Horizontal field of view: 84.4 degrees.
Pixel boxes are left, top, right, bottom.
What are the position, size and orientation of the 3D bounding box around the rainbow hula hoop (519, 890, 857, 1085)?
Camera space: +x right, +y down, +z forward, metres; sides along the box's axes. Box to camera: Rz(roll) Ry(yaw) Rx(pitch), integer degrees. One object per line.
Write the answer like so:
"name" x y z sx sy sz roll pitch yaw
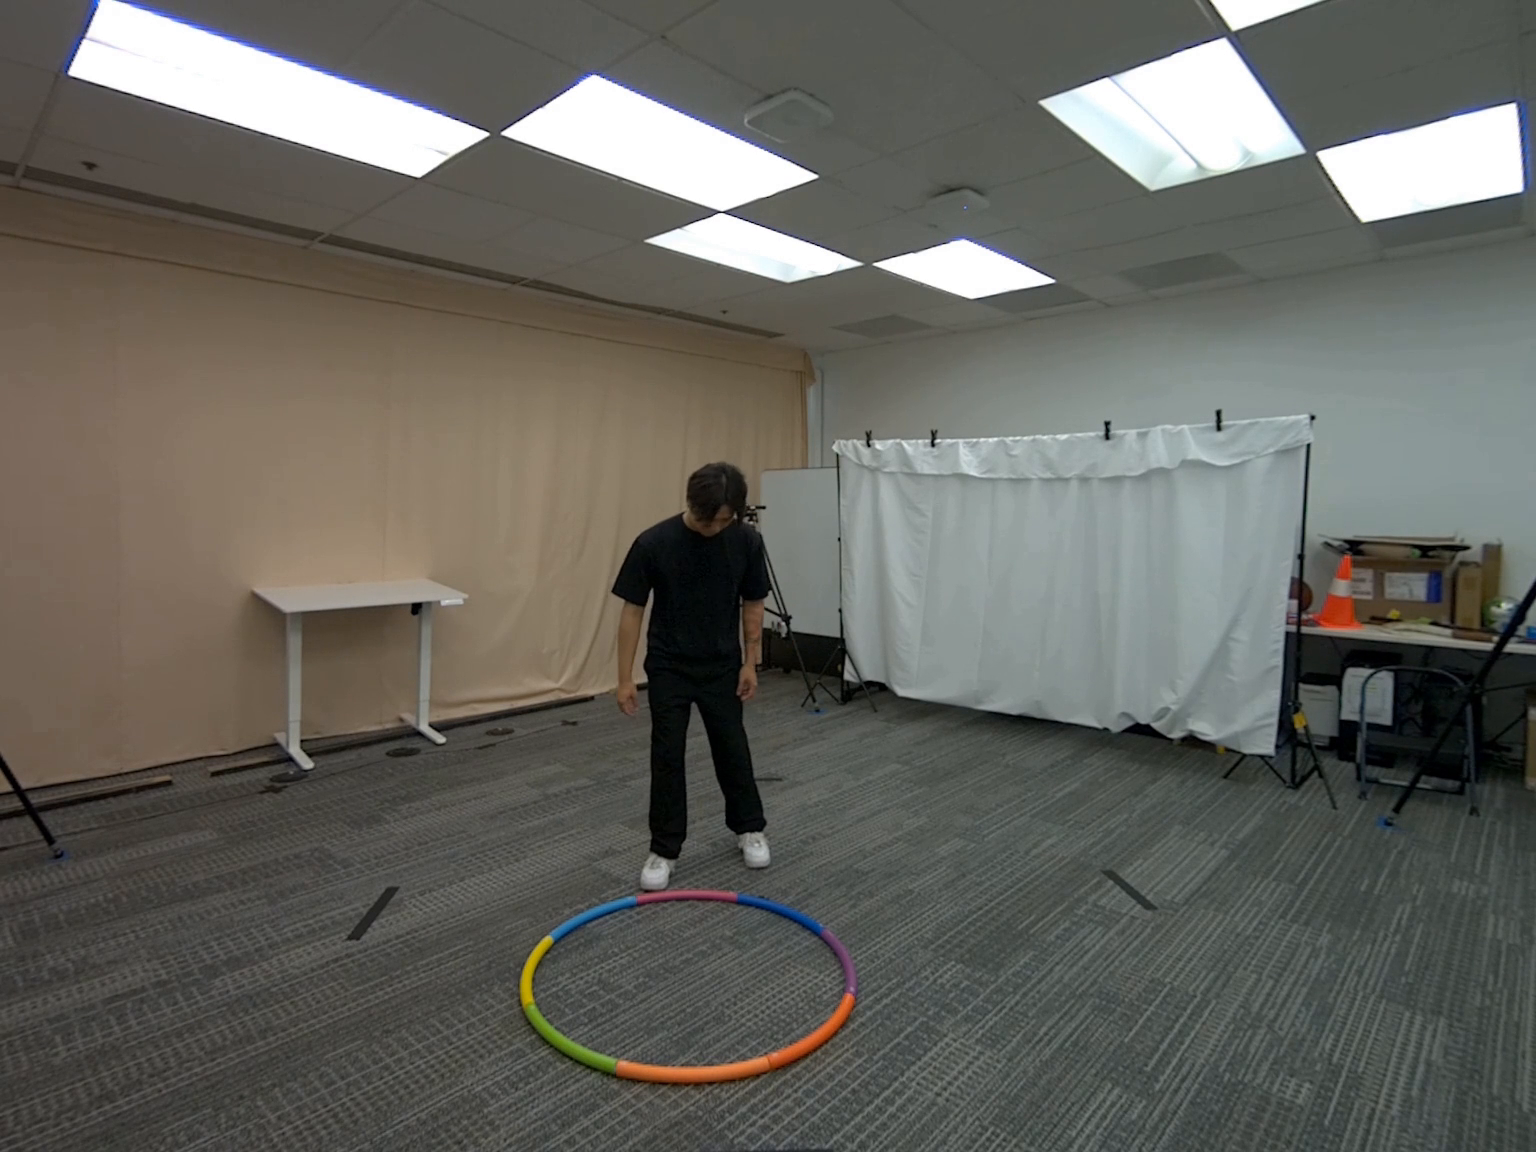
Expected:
"rainbow hula hoop" -0.230 1.157 2.512 0.978 0.035 0.982 0 4 -2
